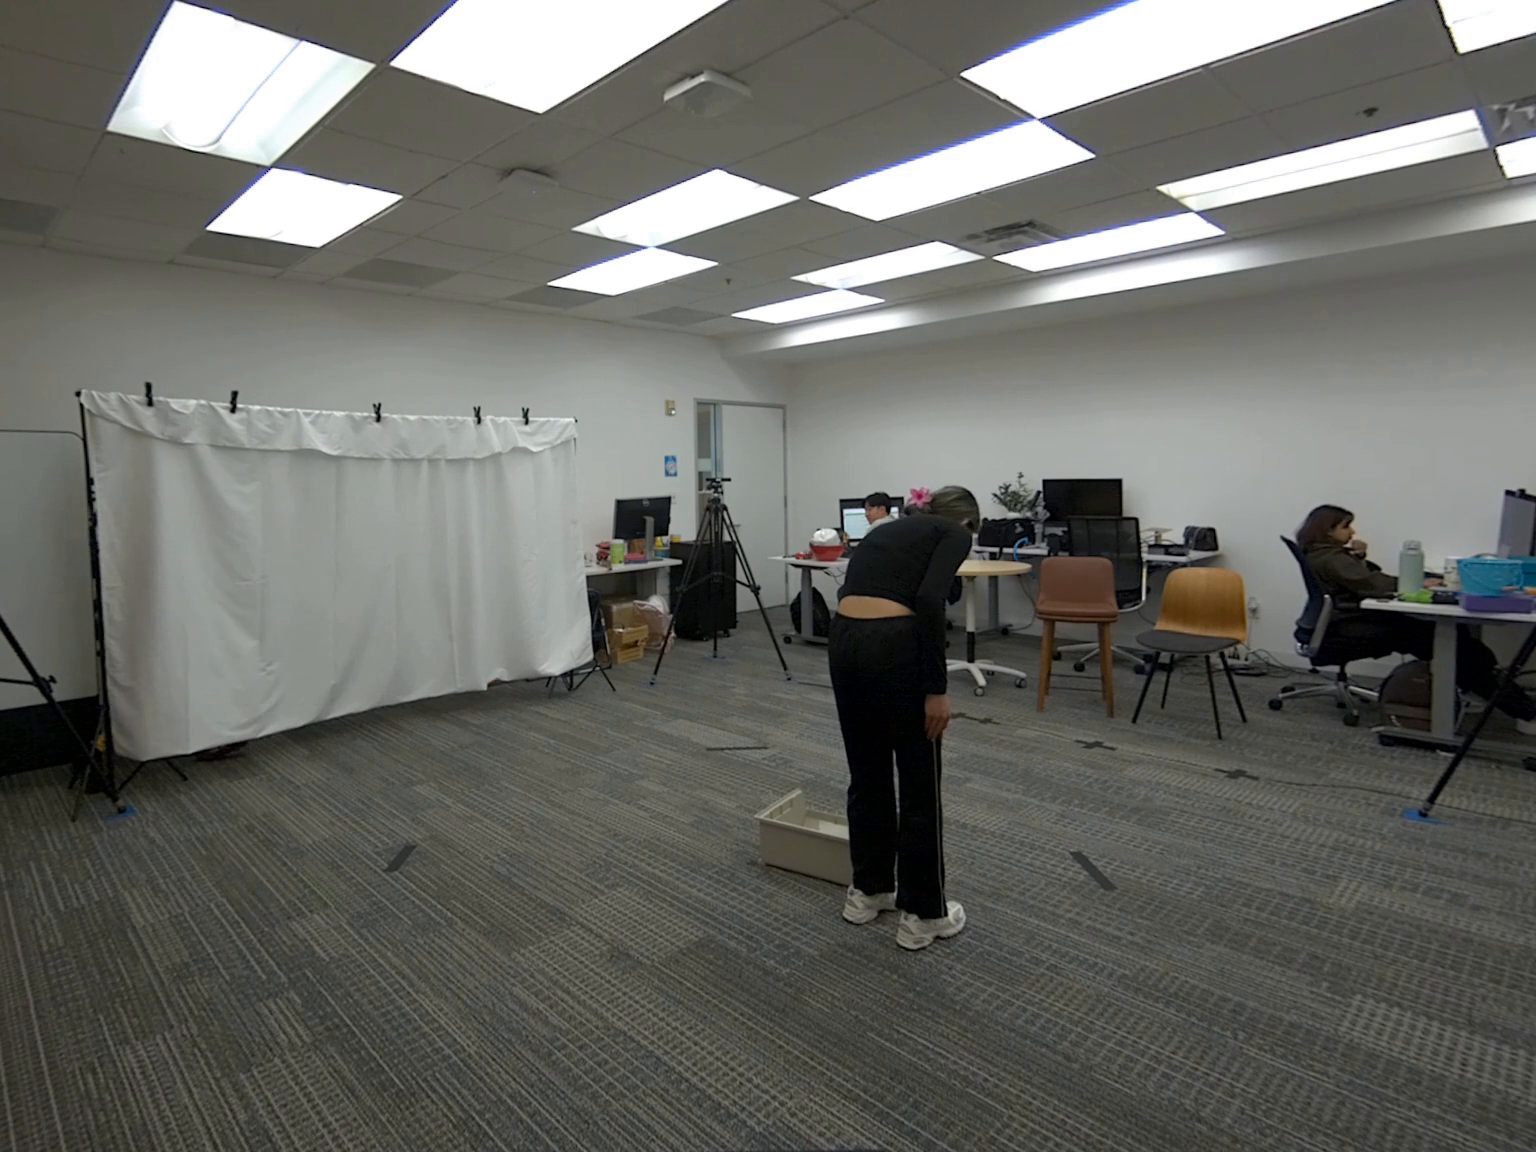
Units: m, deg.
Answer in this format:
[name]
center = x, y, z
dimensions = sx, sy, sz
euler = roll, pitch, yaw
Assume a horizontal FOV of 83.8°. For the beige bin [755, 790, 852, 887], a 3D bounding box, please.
[beige bin]
center = 0.227, 0.950, 3.121
dimensions = 0.434, 0.188, 0.369
euler = 4, 8, 32
